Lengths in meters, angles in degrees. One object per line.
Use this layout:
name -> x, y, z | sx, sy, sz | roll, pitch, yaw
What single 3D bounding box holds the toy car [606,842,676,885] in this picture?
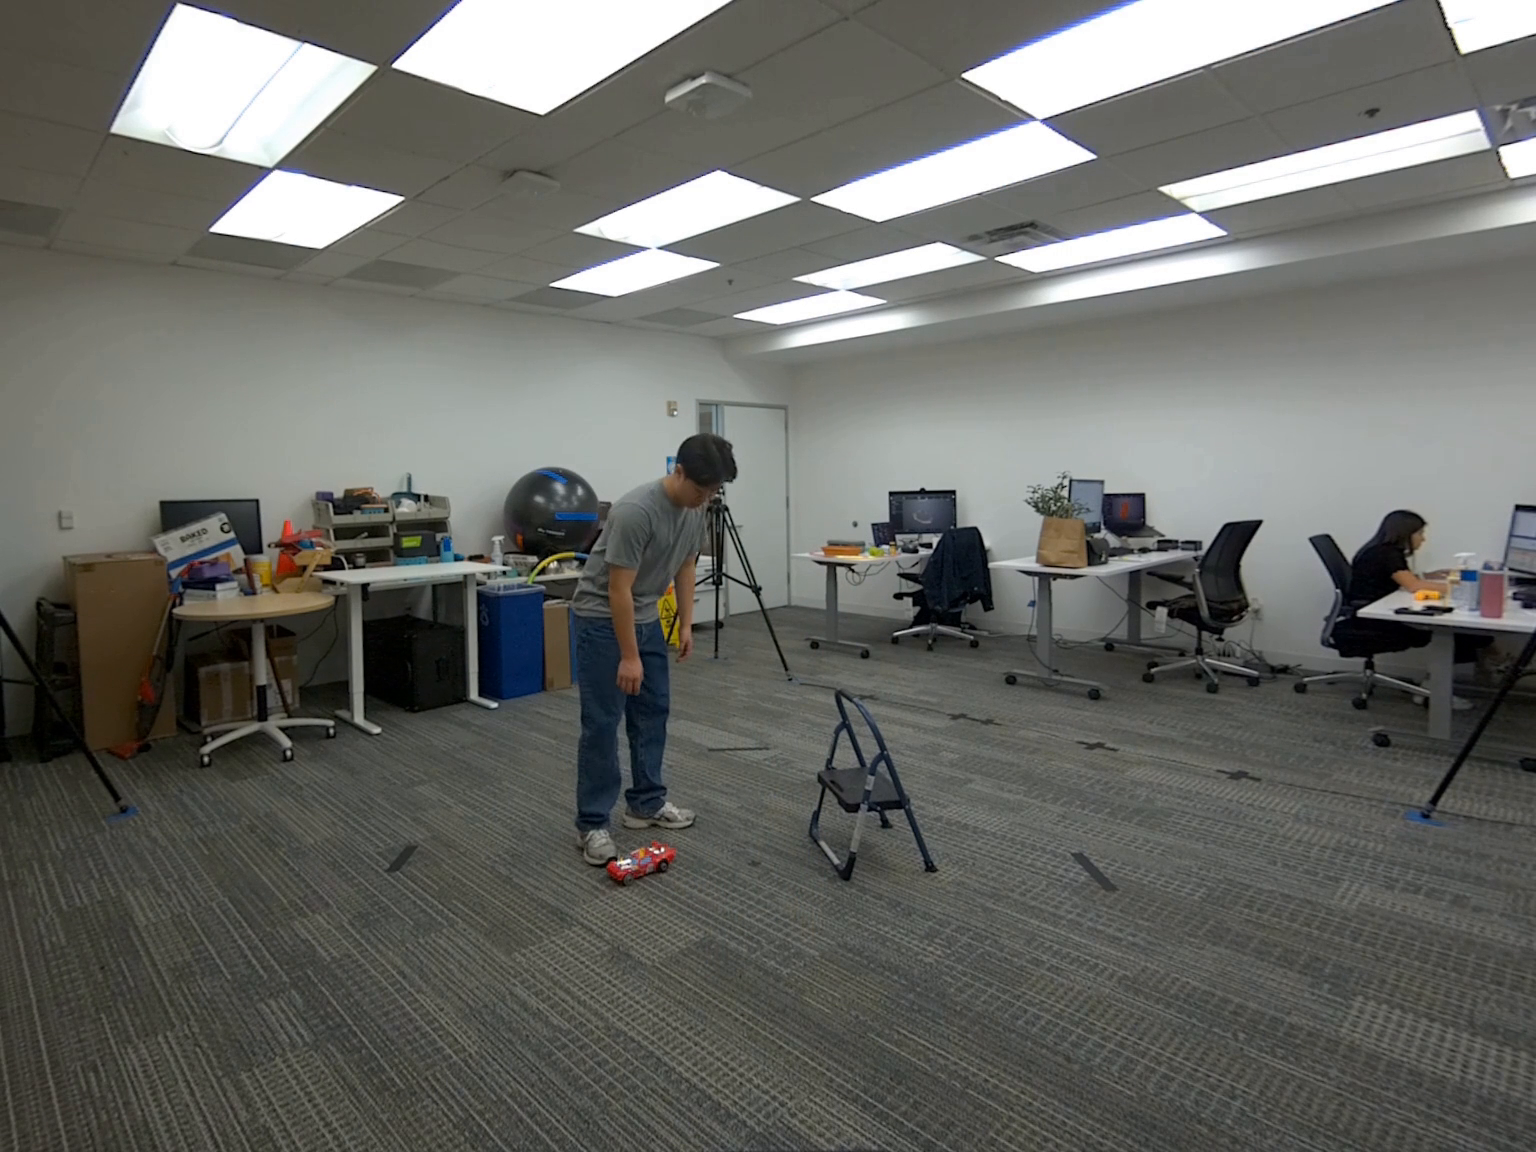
toy car -> -0.446, 1.028, 3.047 | 0.250, 0.082, 0.134 | -20, 16, -37
